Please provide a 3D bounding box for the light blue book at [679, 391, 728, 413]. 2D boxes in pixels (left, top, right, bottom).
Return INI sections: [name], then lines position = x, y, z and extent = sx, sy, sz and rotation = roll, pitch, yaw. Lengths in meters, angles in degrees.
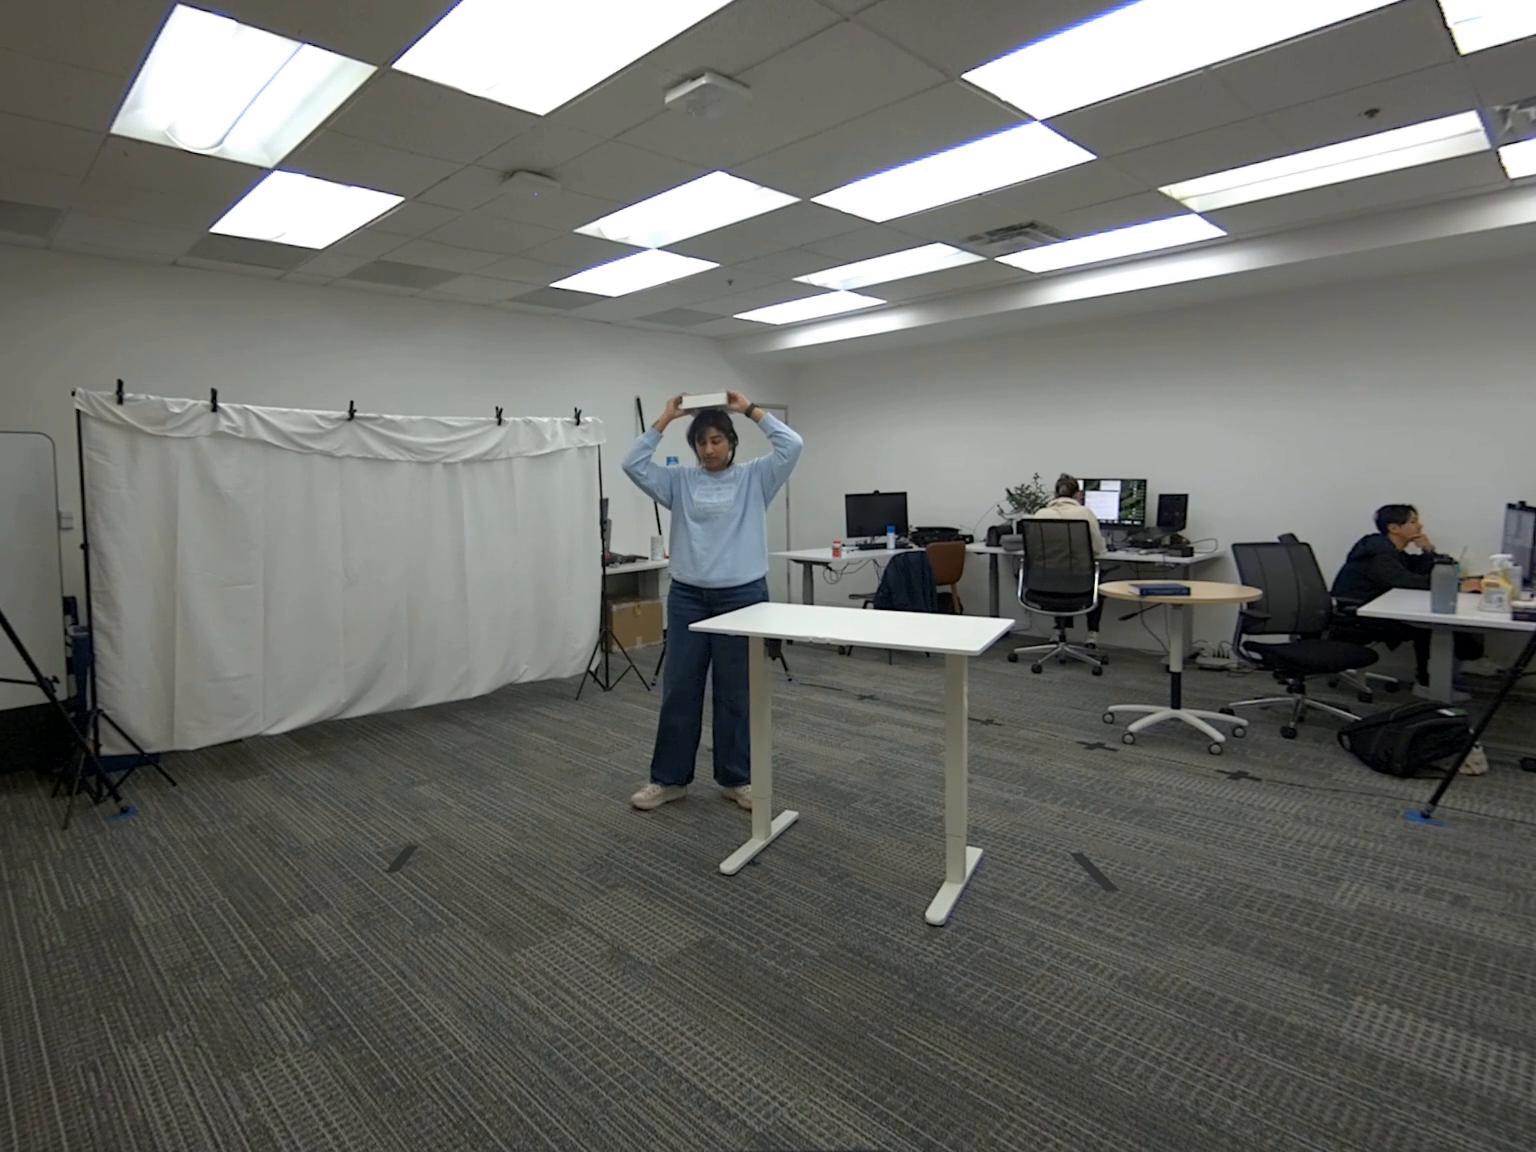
[light blue book]
position = -0.245, -0.727, 3.616
extent = 0.192, 0.059, 0.261
rotation = -4, 3, 2
